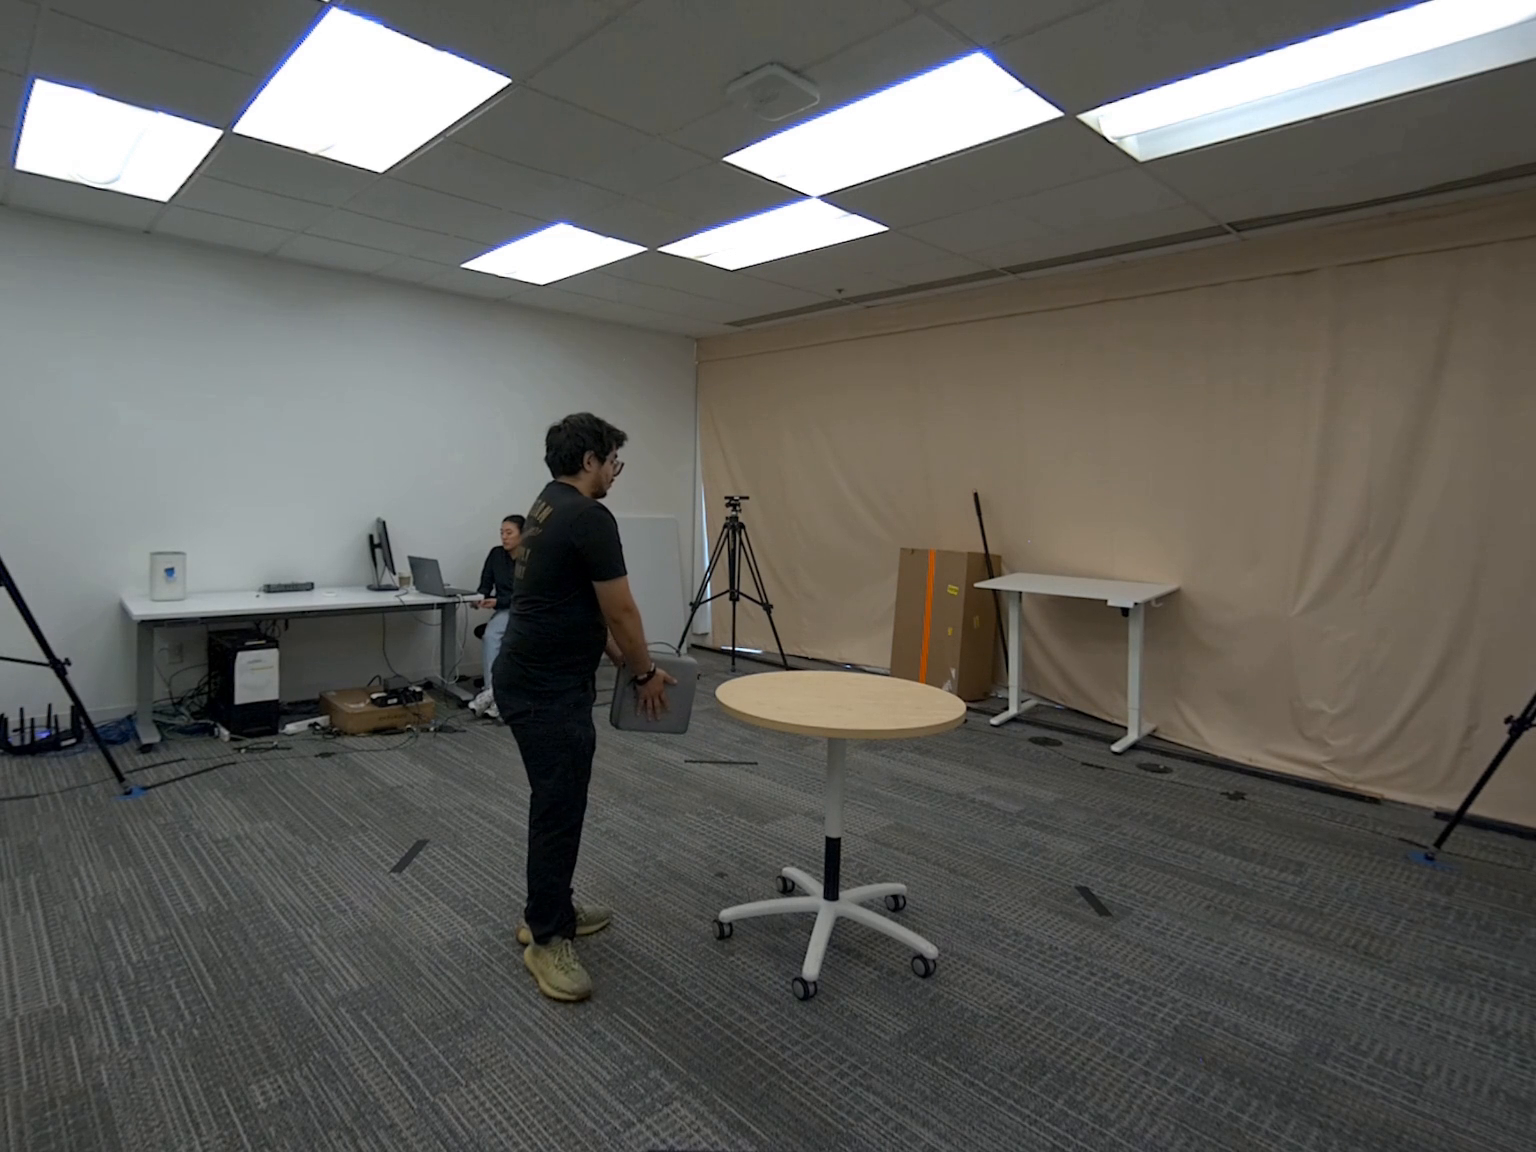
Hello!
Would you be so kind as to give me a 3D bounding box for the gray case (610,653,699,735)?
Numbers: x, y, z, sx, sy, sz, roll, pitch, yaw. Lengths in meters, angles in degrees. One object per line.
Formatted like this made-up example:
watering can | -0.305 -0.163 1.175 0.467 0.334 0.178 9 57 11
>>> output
gray case | -0.362 0.373 2.700 0.252 0.261 0.106 10 0 -22
